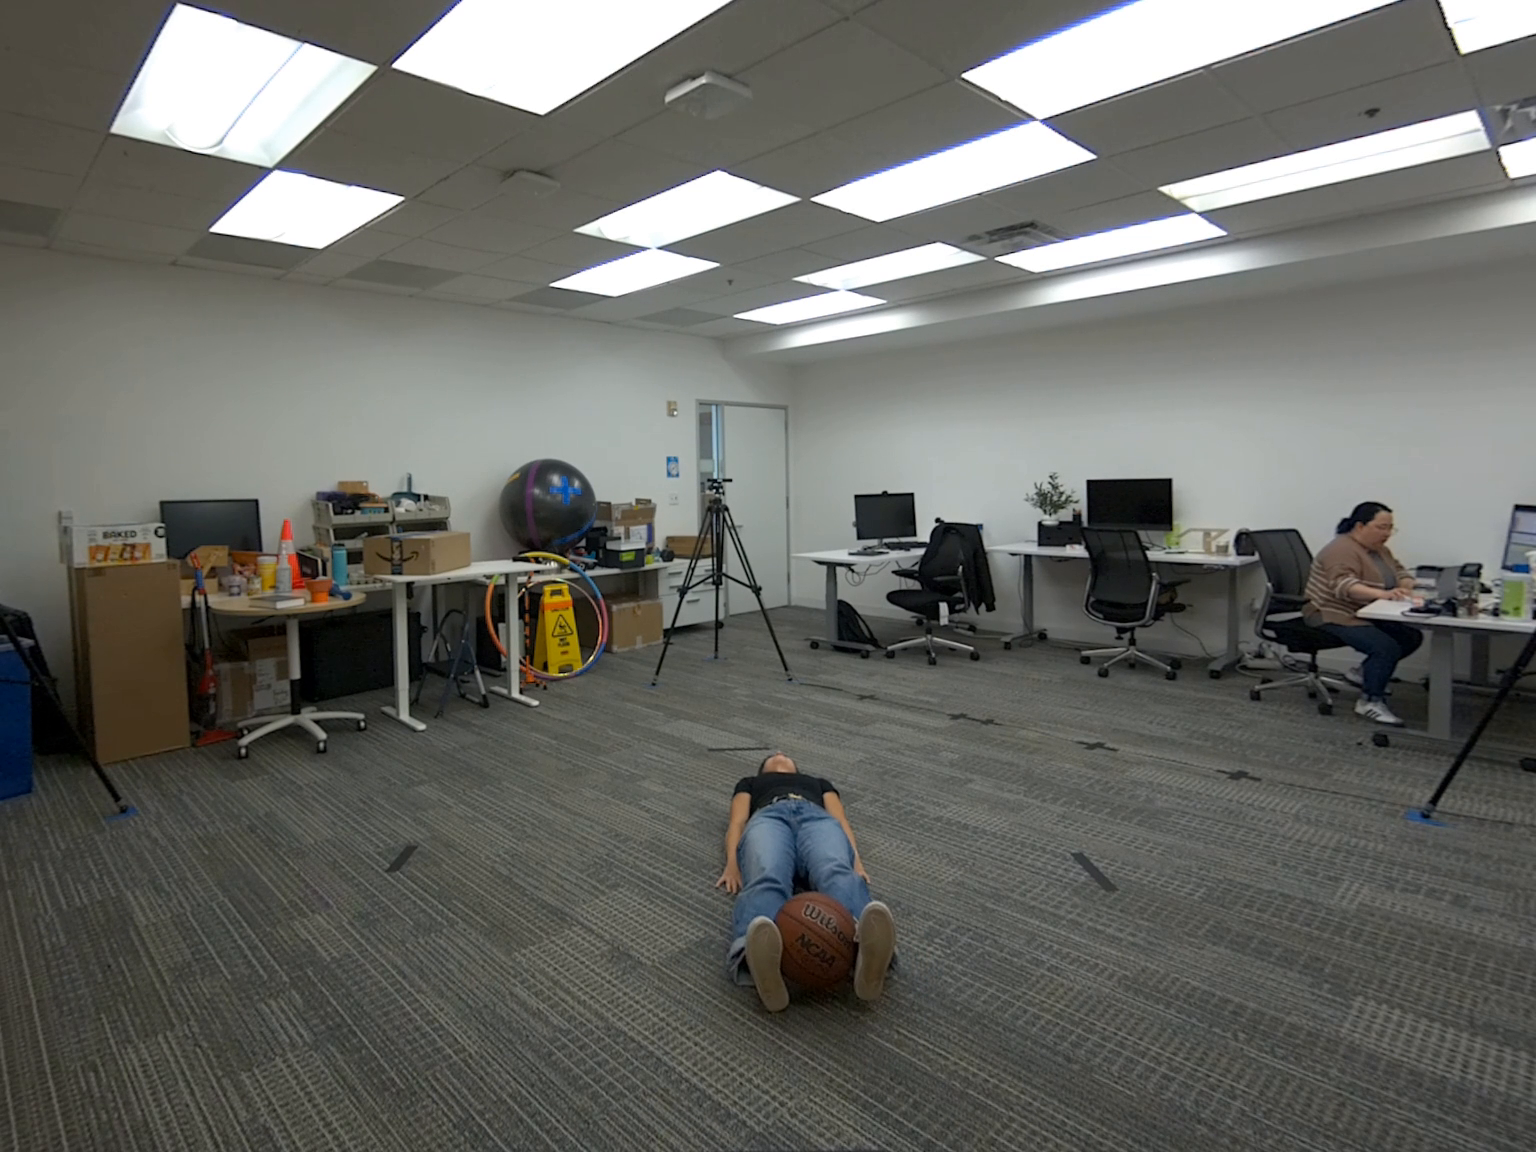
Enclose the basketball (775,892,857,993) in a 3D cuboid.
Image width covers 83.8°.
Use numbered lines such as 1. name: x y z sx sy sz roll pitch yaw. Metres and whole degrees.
1. basketball: 0.132 0.983 2.326 0.236 0.235 0.237 -1 5 -2
